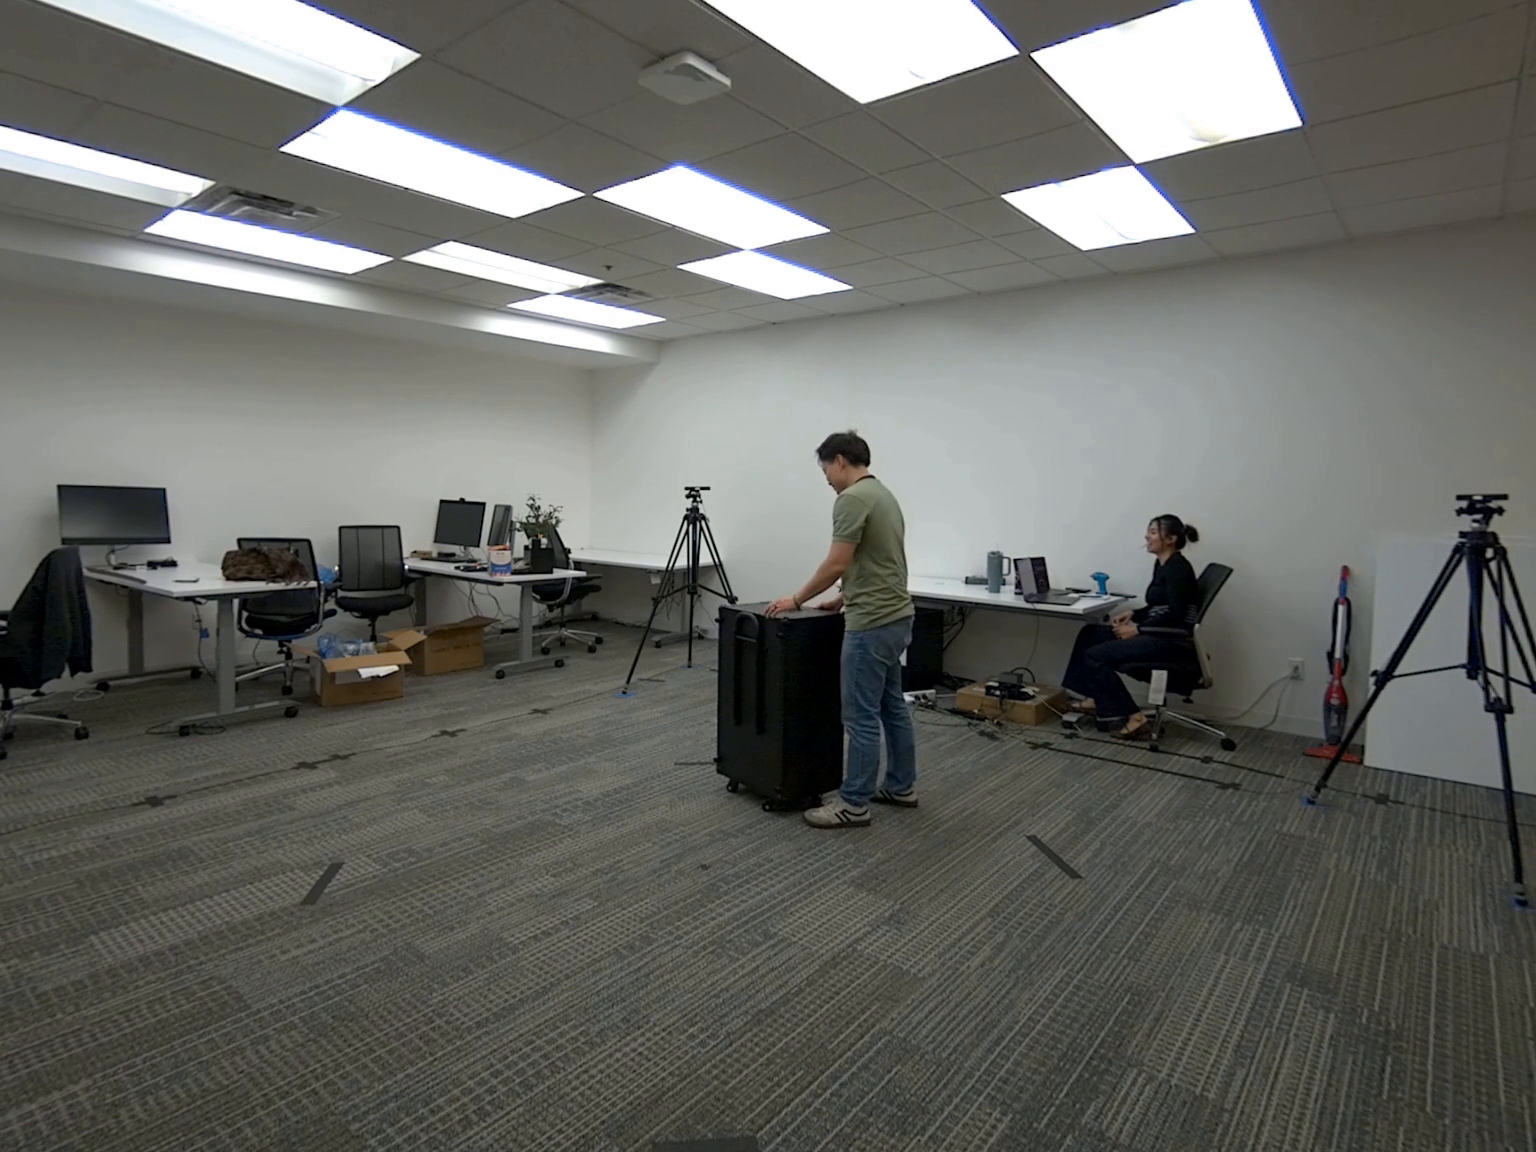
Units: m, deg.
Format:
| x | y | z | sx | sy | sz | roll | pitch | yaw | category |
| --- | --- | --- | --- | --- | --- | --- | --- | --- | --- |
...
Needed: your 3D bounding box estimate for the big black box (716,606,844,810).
| x | y | z | sx | sy | sz | roll | pitch | yaw | category |
| --- | --- | --- | --- | --- | --- | --- | --- | --- | --- |
| 0.031 | 0.574 | 3.840 | 0.385 | 0.858 | 0.538 | -3 | 5 | -36 | big black box |
